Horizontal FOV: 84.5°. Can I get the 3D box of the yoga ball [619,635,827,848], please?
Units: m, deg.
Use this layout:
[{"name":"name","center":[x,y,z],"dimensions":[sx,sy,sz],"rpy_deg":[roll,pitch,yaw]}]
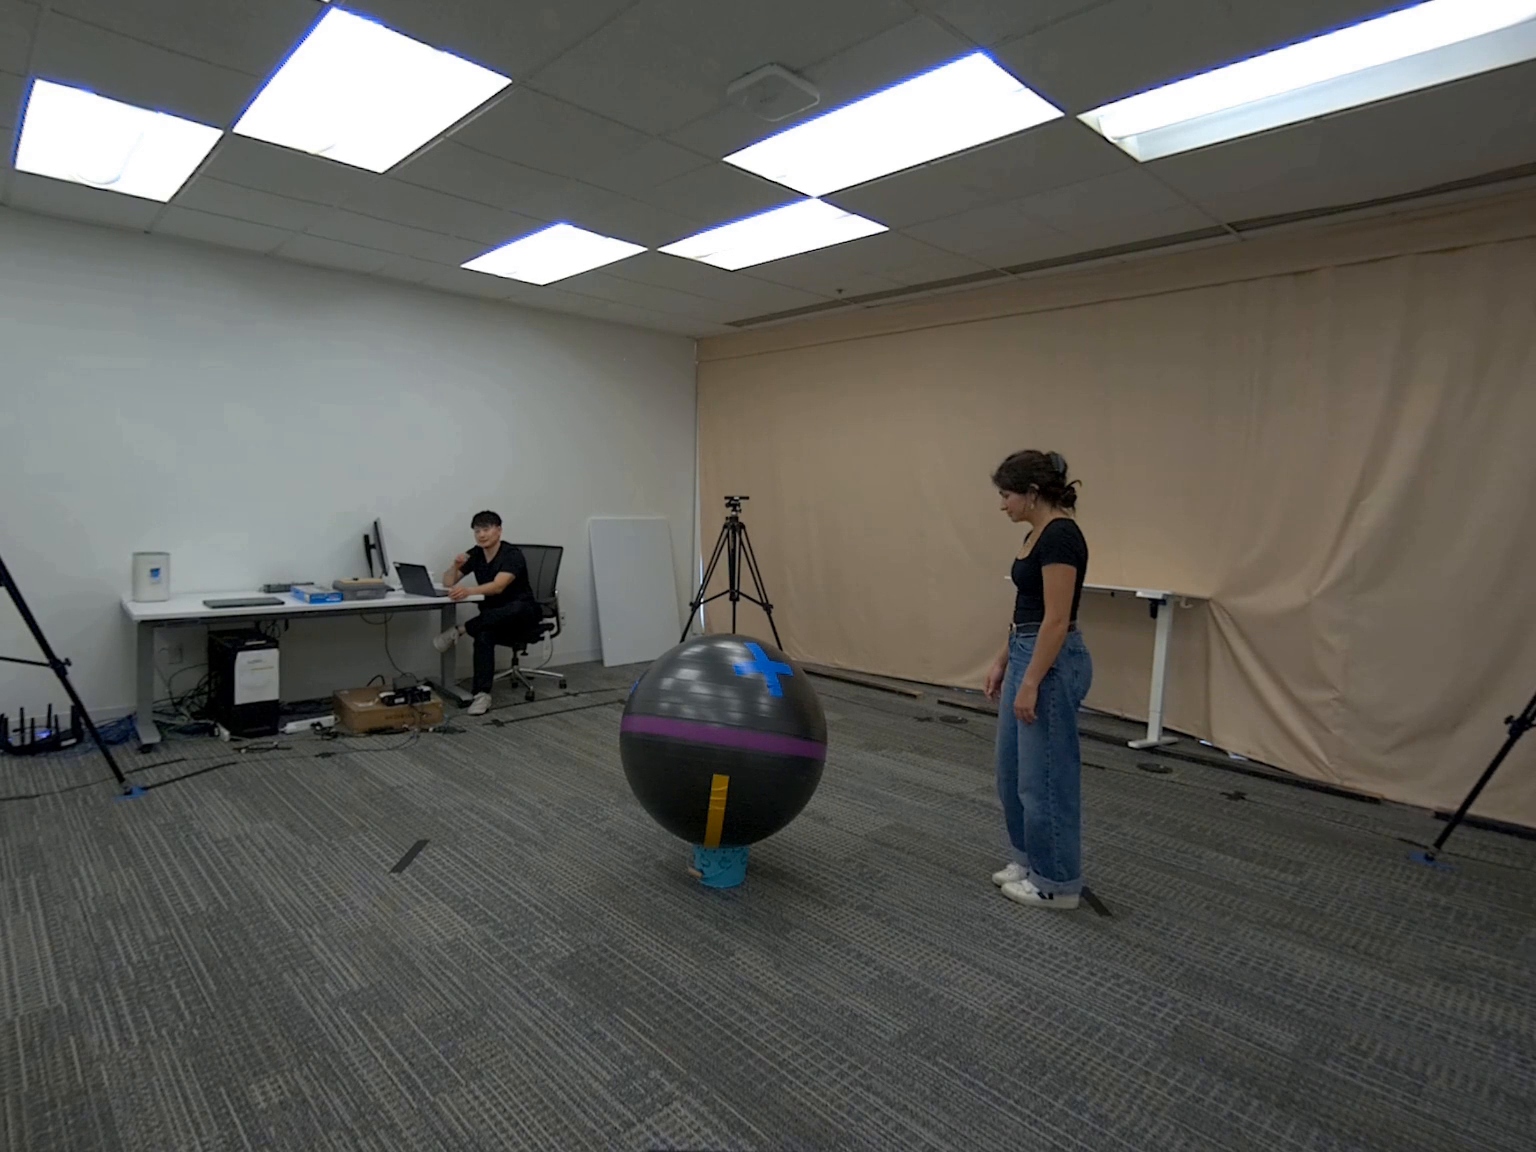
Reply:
[{"name":"yoga ball","center":[-0.163,0.588,3.083],"dimensions":[0.757,0.756,0.761],"rpy_deg":[1,4,-1]}]
